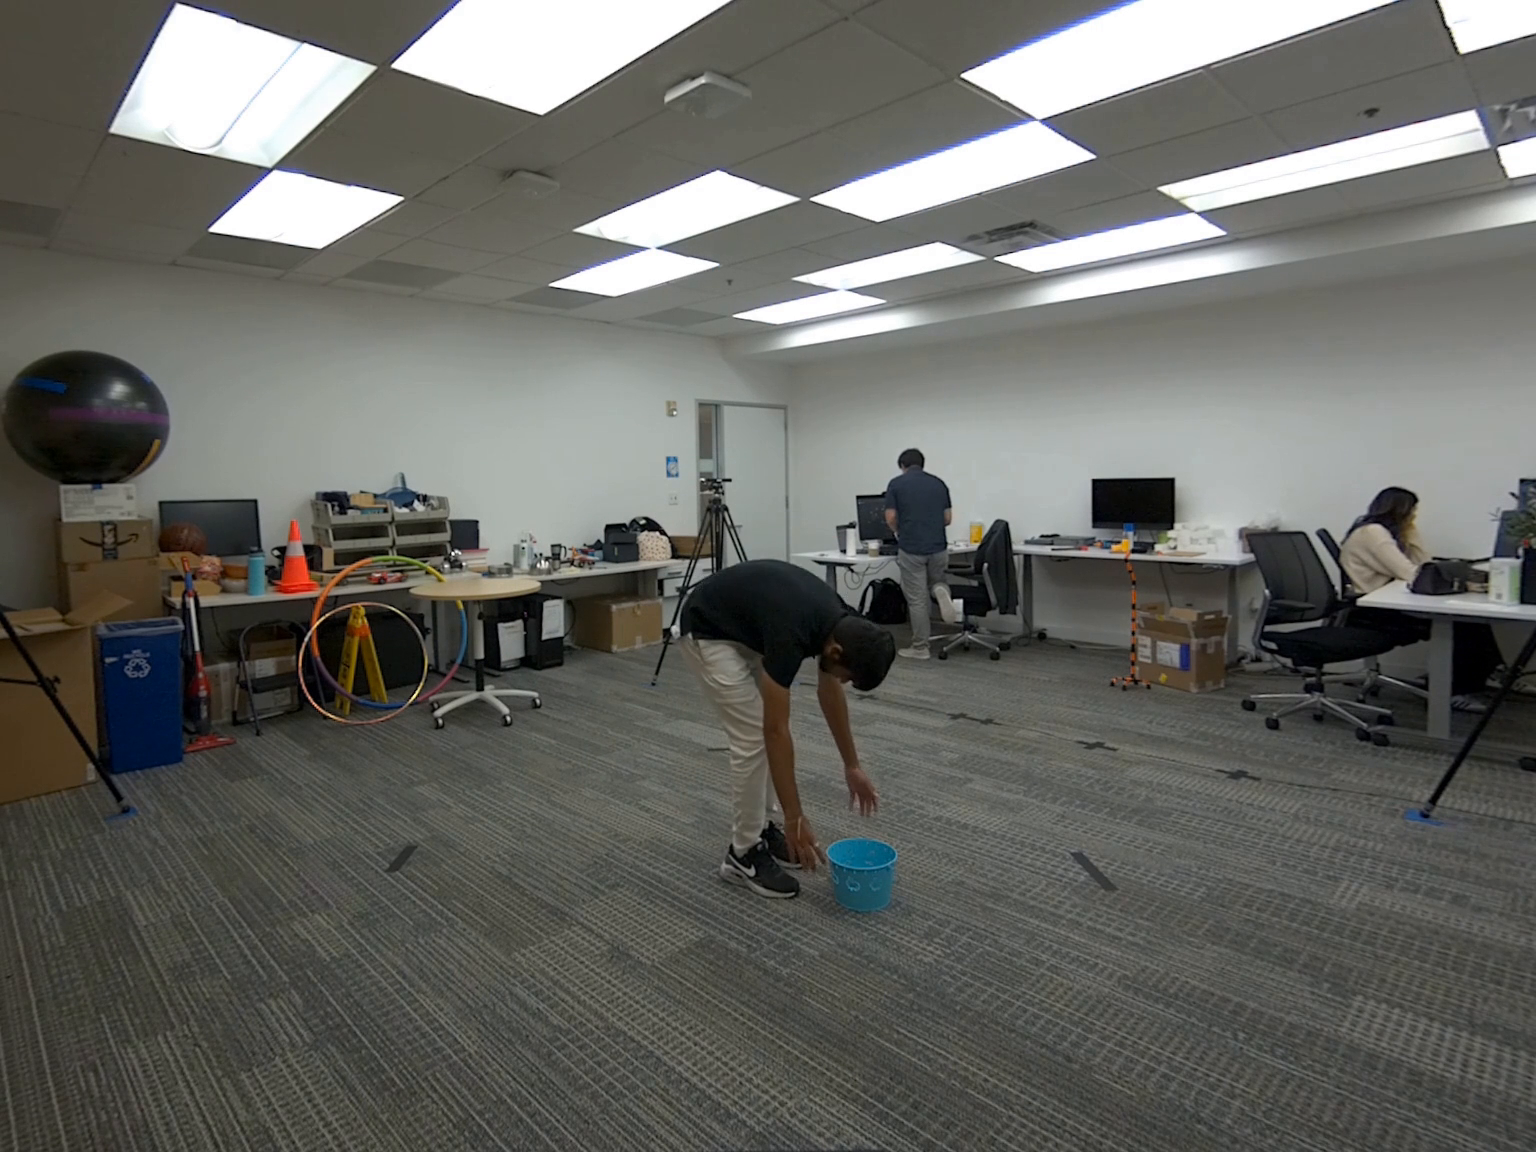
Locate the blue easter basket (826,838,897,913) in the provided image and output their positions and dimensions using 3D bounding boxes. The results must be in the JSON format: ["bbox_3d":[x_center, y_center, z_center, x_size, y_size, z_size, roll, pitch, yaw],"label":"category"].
[{"bbox_3d":[0.322,0.989,2.831,0.243,0.155,0.245,-2,6,-2],"label":"blue easter basket"}]
